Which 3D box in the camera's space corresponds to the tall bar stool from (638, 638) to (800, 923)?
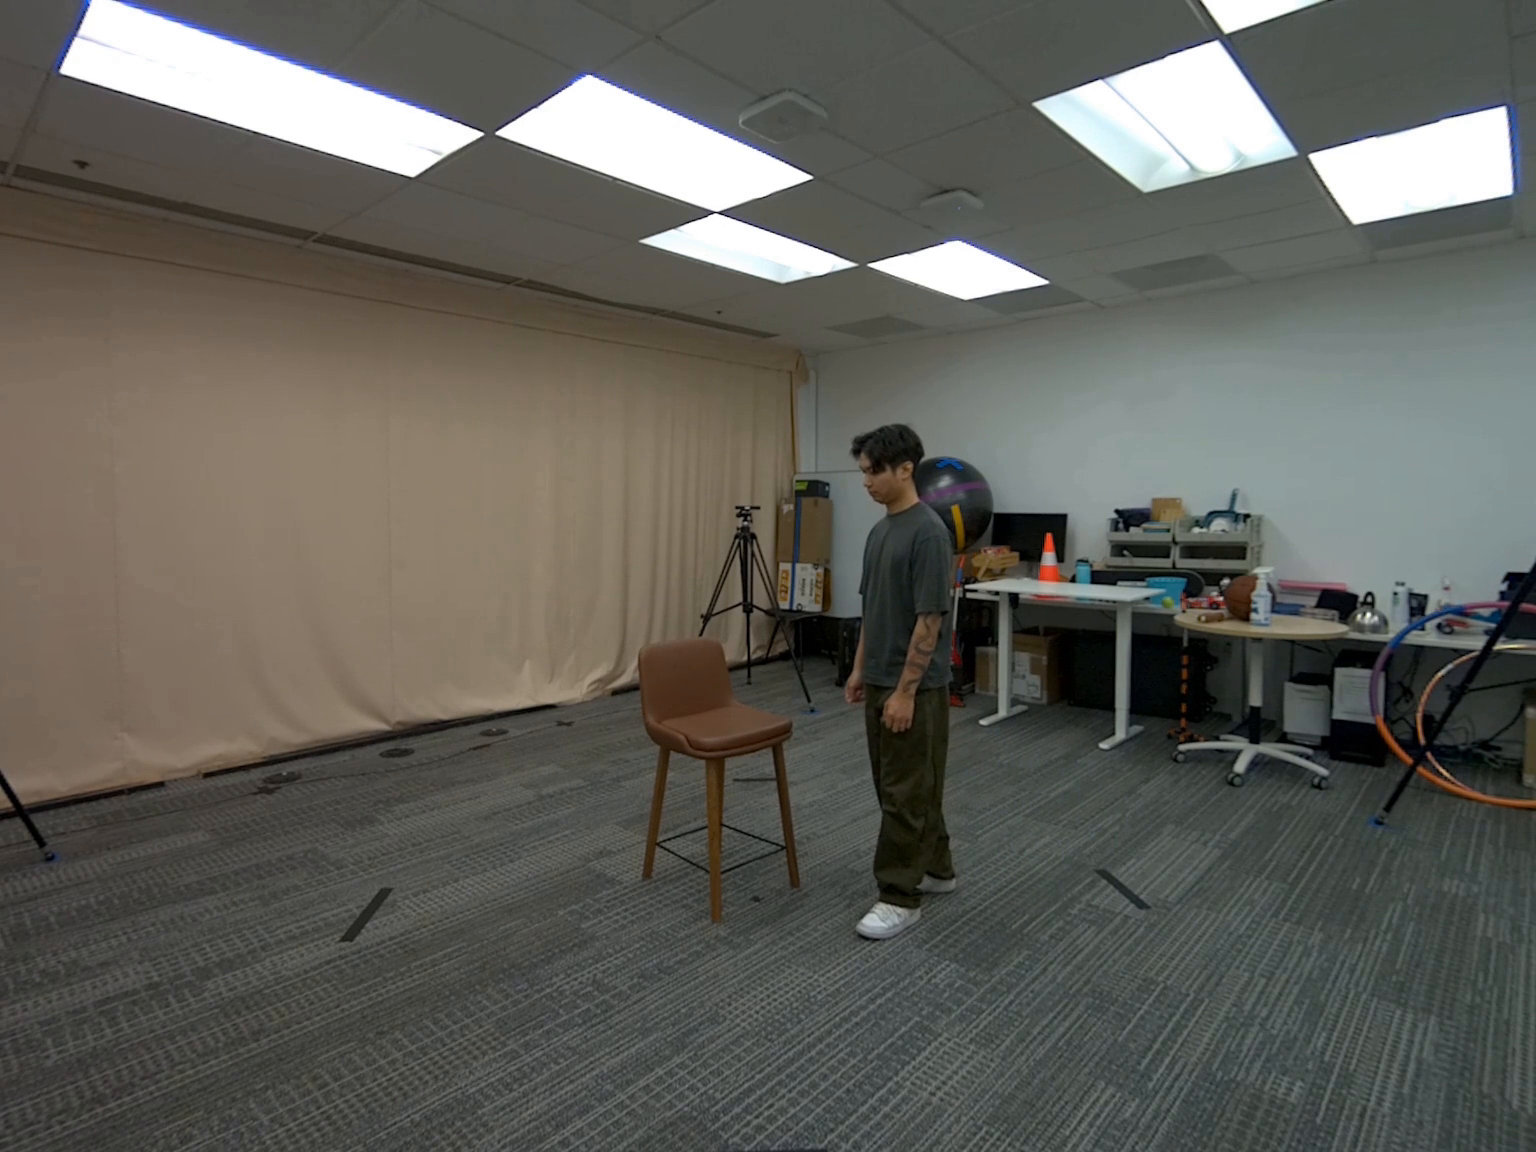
[{"bbox_3d":[-0.186,0.699,3.093,0.442,0.889,0.483,-3,2,-42],"label":"tall bar stool"}]
